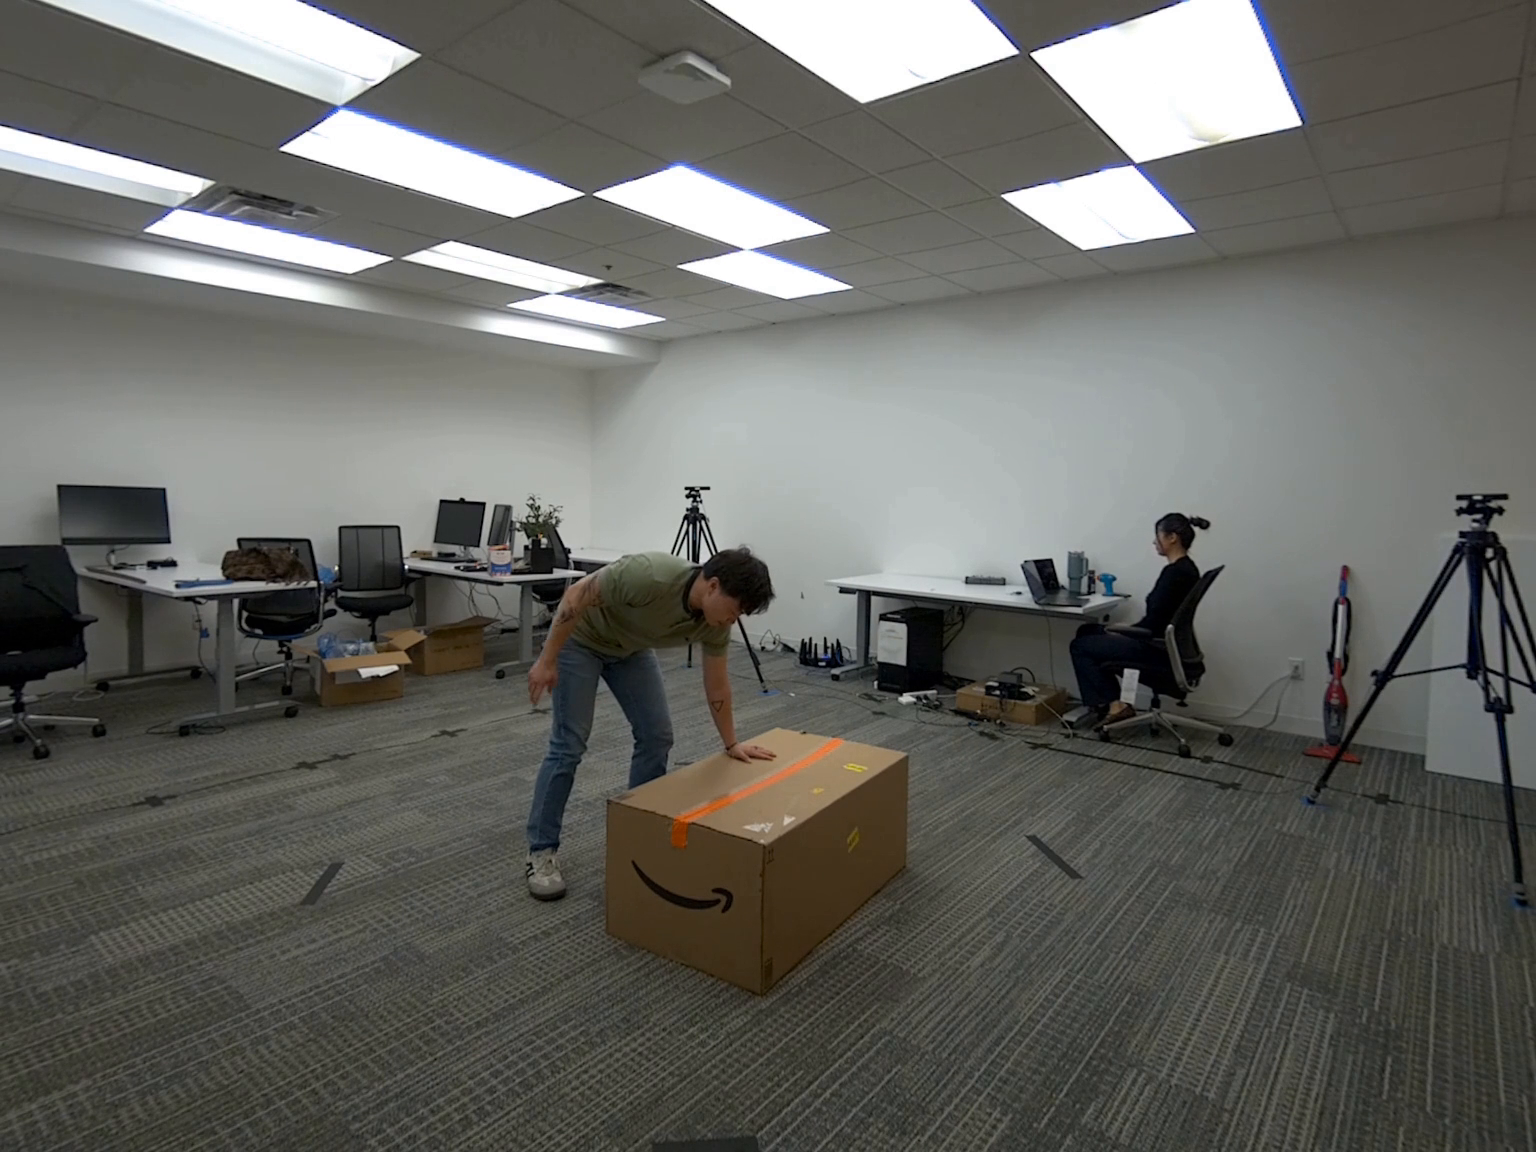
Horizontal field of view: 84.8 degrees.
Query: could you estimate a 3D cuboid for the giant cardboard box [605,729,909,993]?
[{"bbox_3d":[0.000,0.880,2.886,0.596,0.425,0.998,4,6,33],"label":"giant cardboard box"}]
